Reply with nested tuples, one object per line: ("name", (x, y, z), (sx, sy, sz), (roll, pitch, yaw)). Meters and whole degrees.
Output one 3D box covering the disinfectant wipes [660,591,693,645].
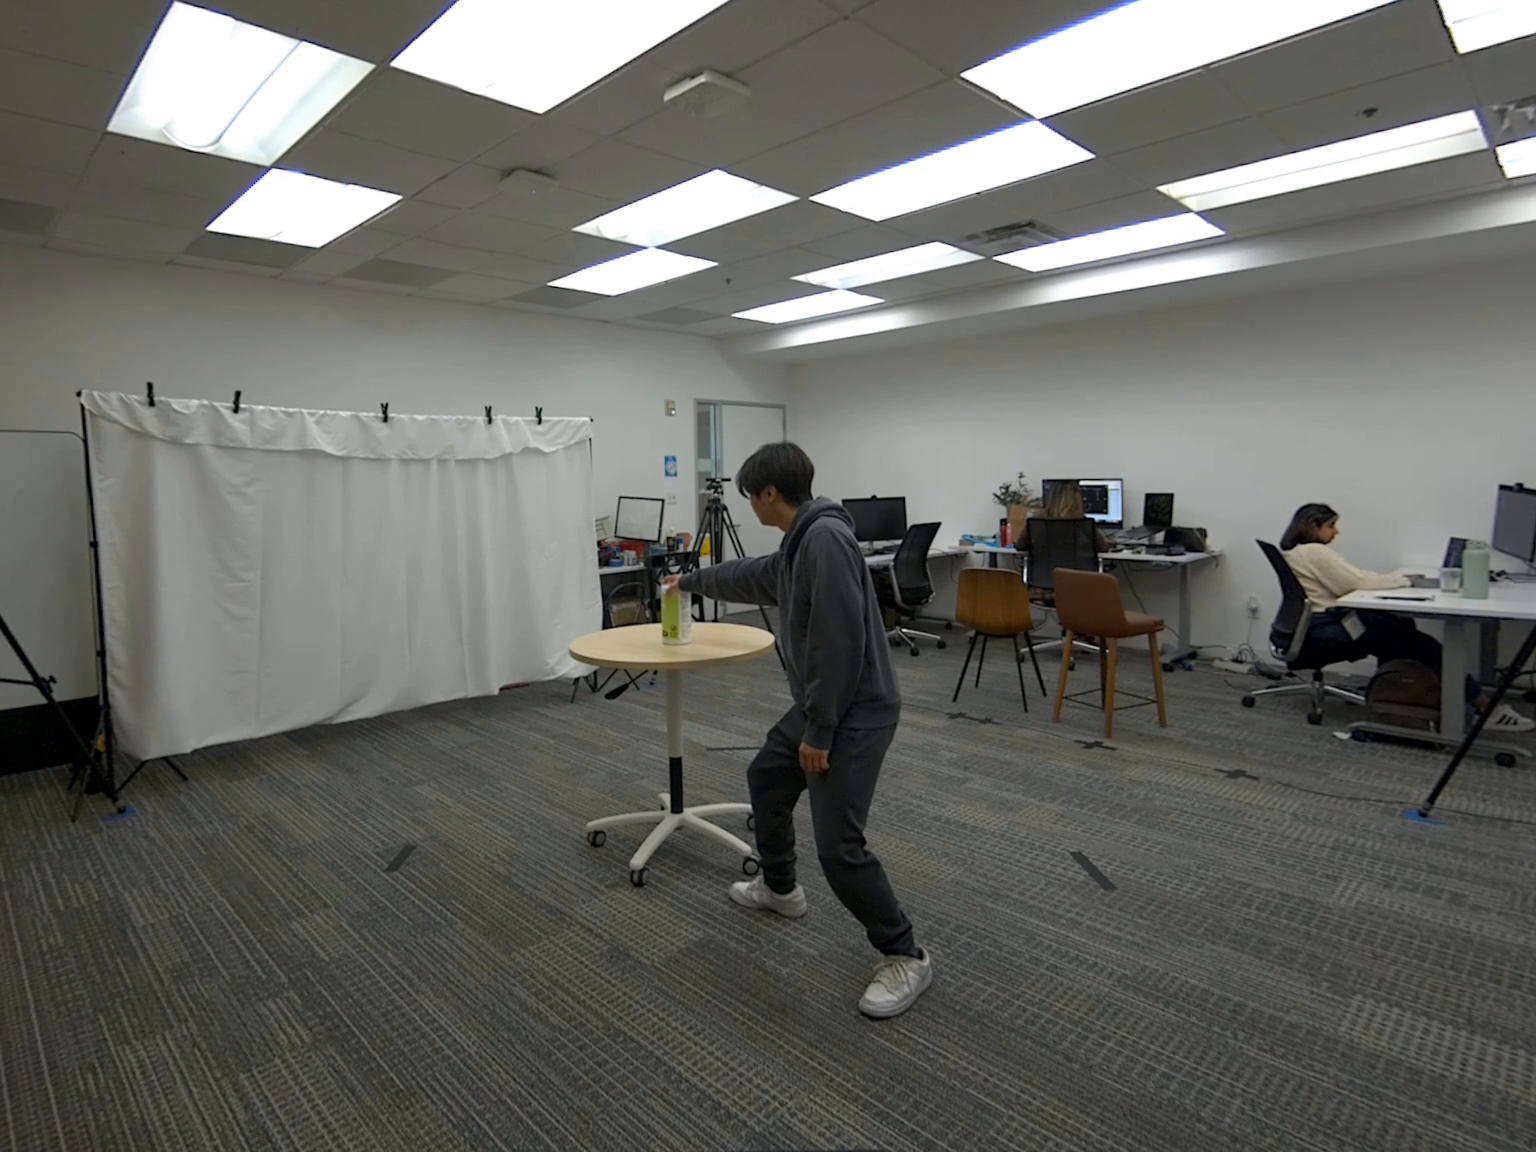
("disinfectant wipes", (-0.334, 0.140, 3.145), (0.118, 0.216, 0.118), (-2, 5, -1))
